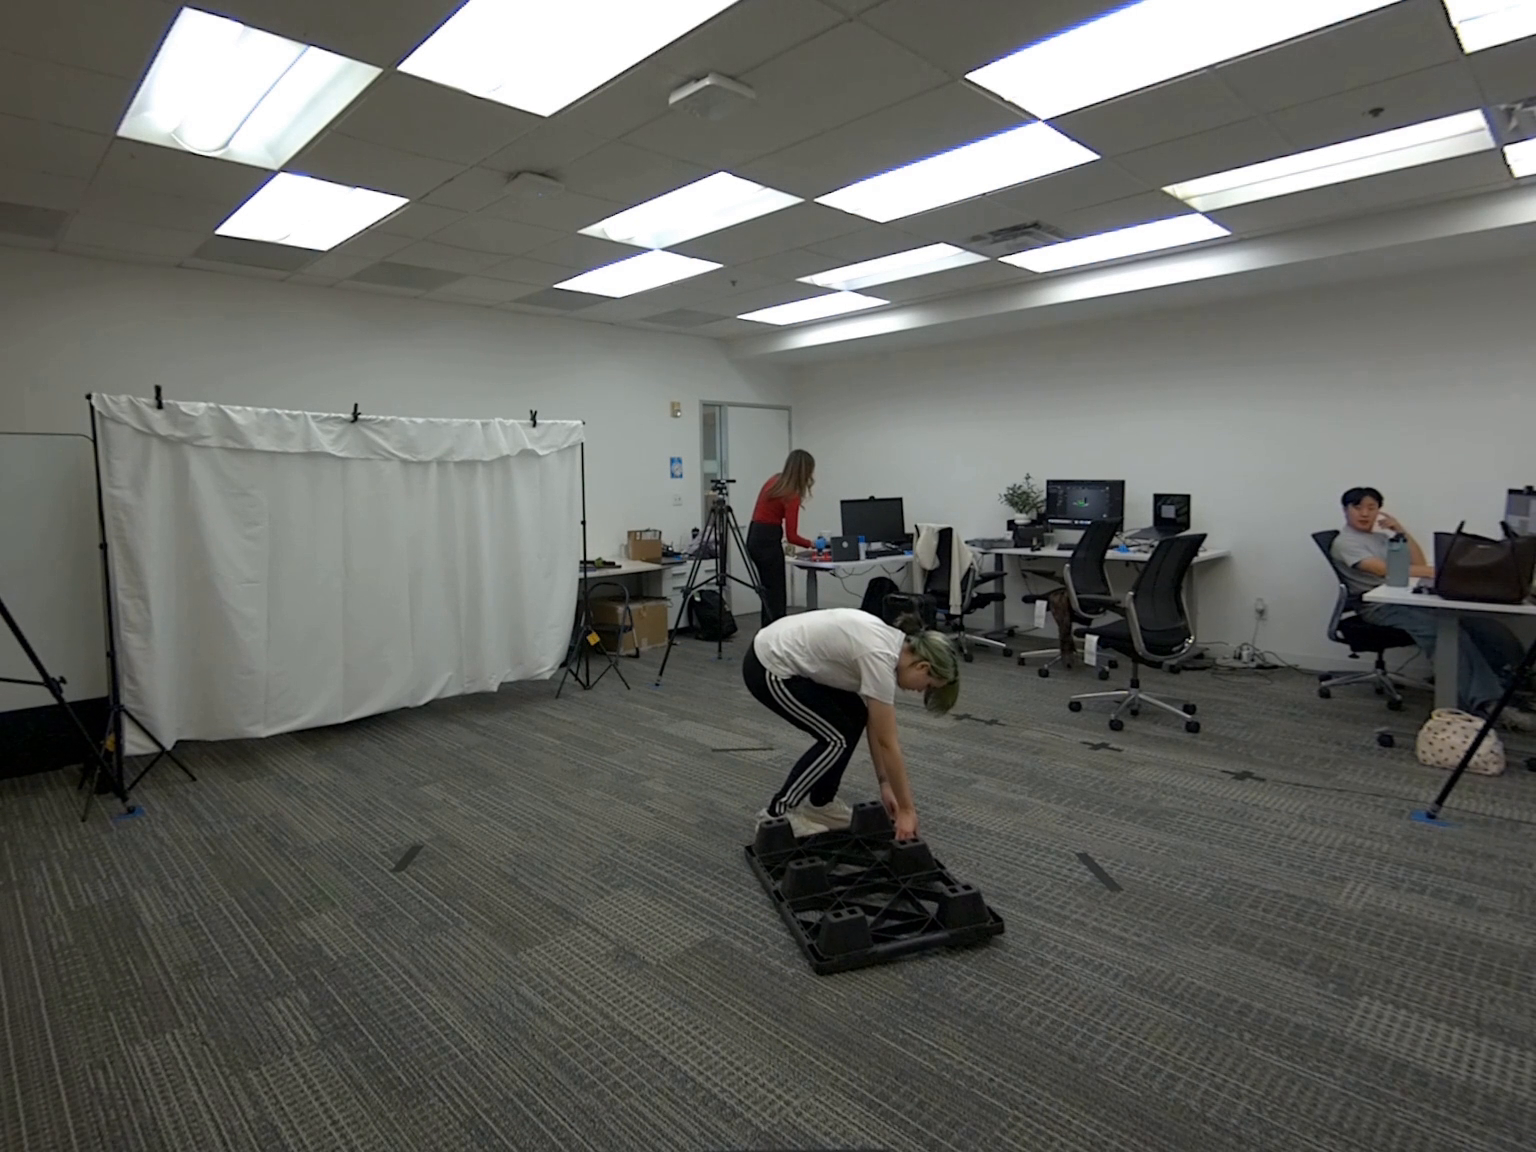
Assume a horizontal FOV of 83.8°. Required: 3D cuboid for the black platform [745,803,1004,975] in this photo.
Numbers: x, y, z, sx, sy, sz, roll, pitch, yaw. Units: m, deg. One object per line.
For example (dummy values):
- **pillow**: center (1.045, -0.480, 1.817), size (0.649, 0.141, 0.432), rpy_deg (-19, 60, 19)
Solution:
- **black platform**: center (0.309, 0.984, 2.842), size (0.597, 0.142, 0.821), rpy_deg (-7, 8, -16)
